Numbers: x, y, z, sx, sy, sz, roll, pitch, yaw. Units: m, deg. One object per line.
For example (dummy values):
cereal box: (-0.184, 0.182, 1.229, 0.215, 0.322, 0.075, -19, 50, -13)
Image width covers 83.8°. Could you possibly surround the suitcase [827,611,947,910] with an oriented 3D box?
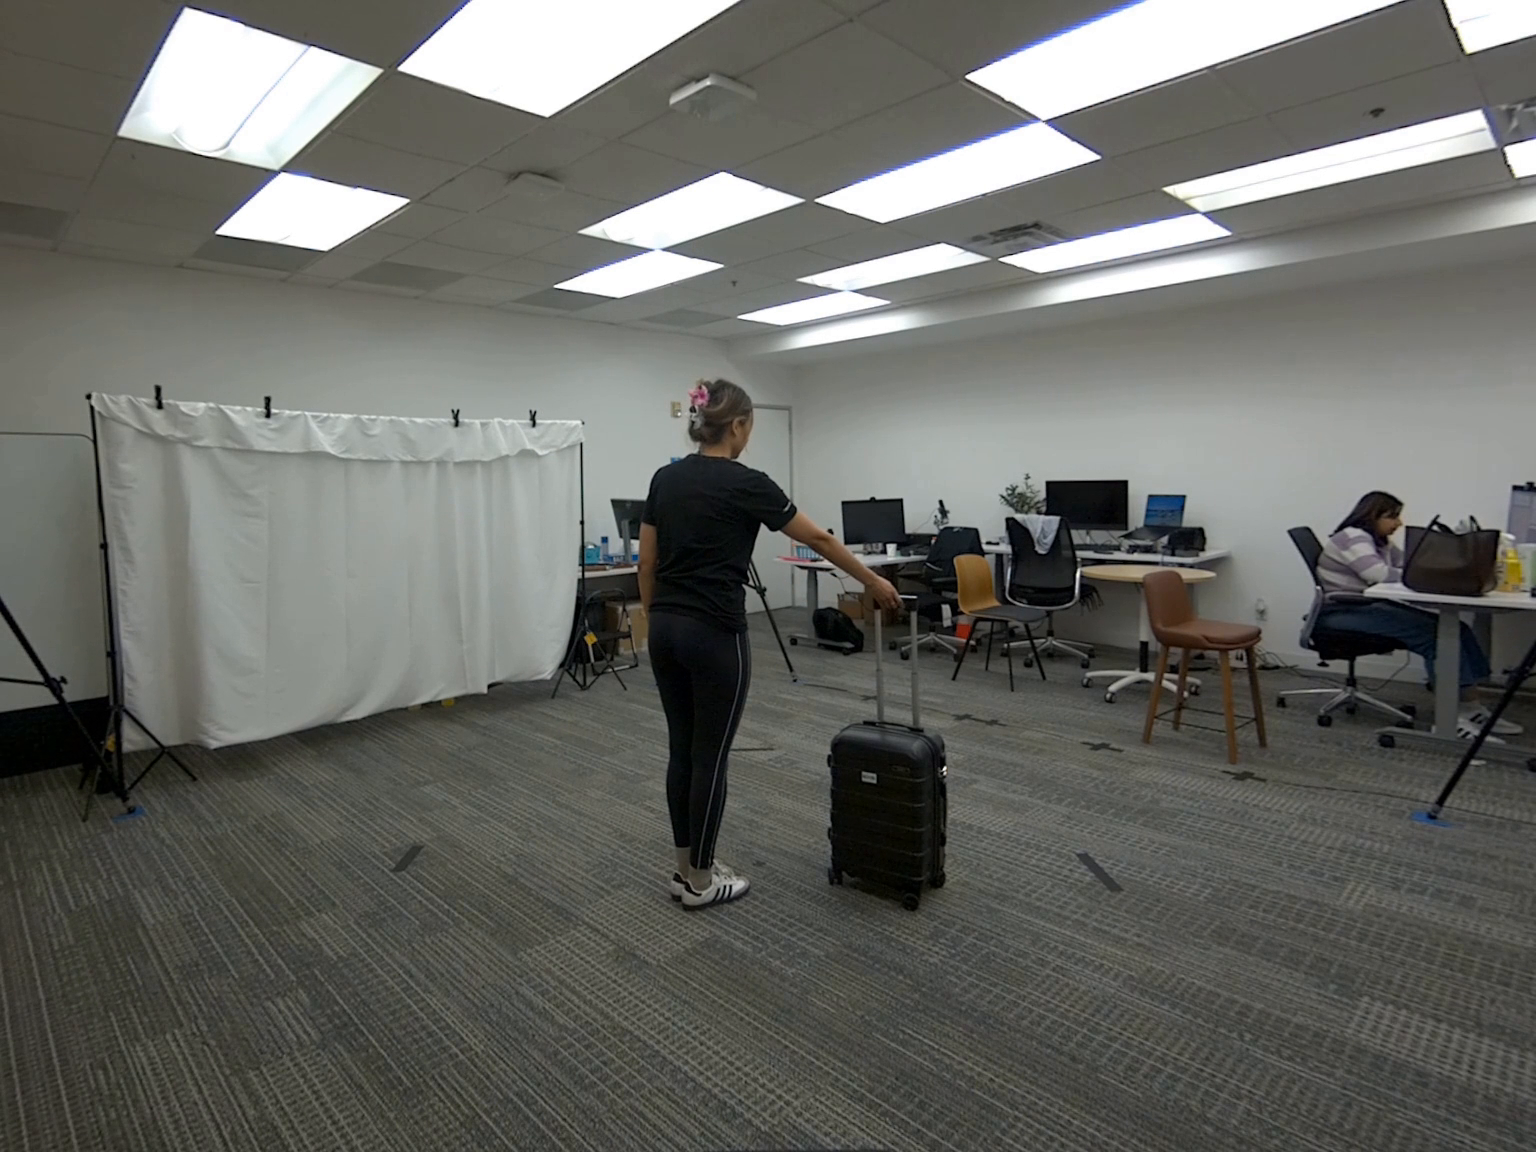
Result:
suitcase: (0.413, 0.588, 2.904, 0.394, 0.974, 0.251, 2, 6, 31)
